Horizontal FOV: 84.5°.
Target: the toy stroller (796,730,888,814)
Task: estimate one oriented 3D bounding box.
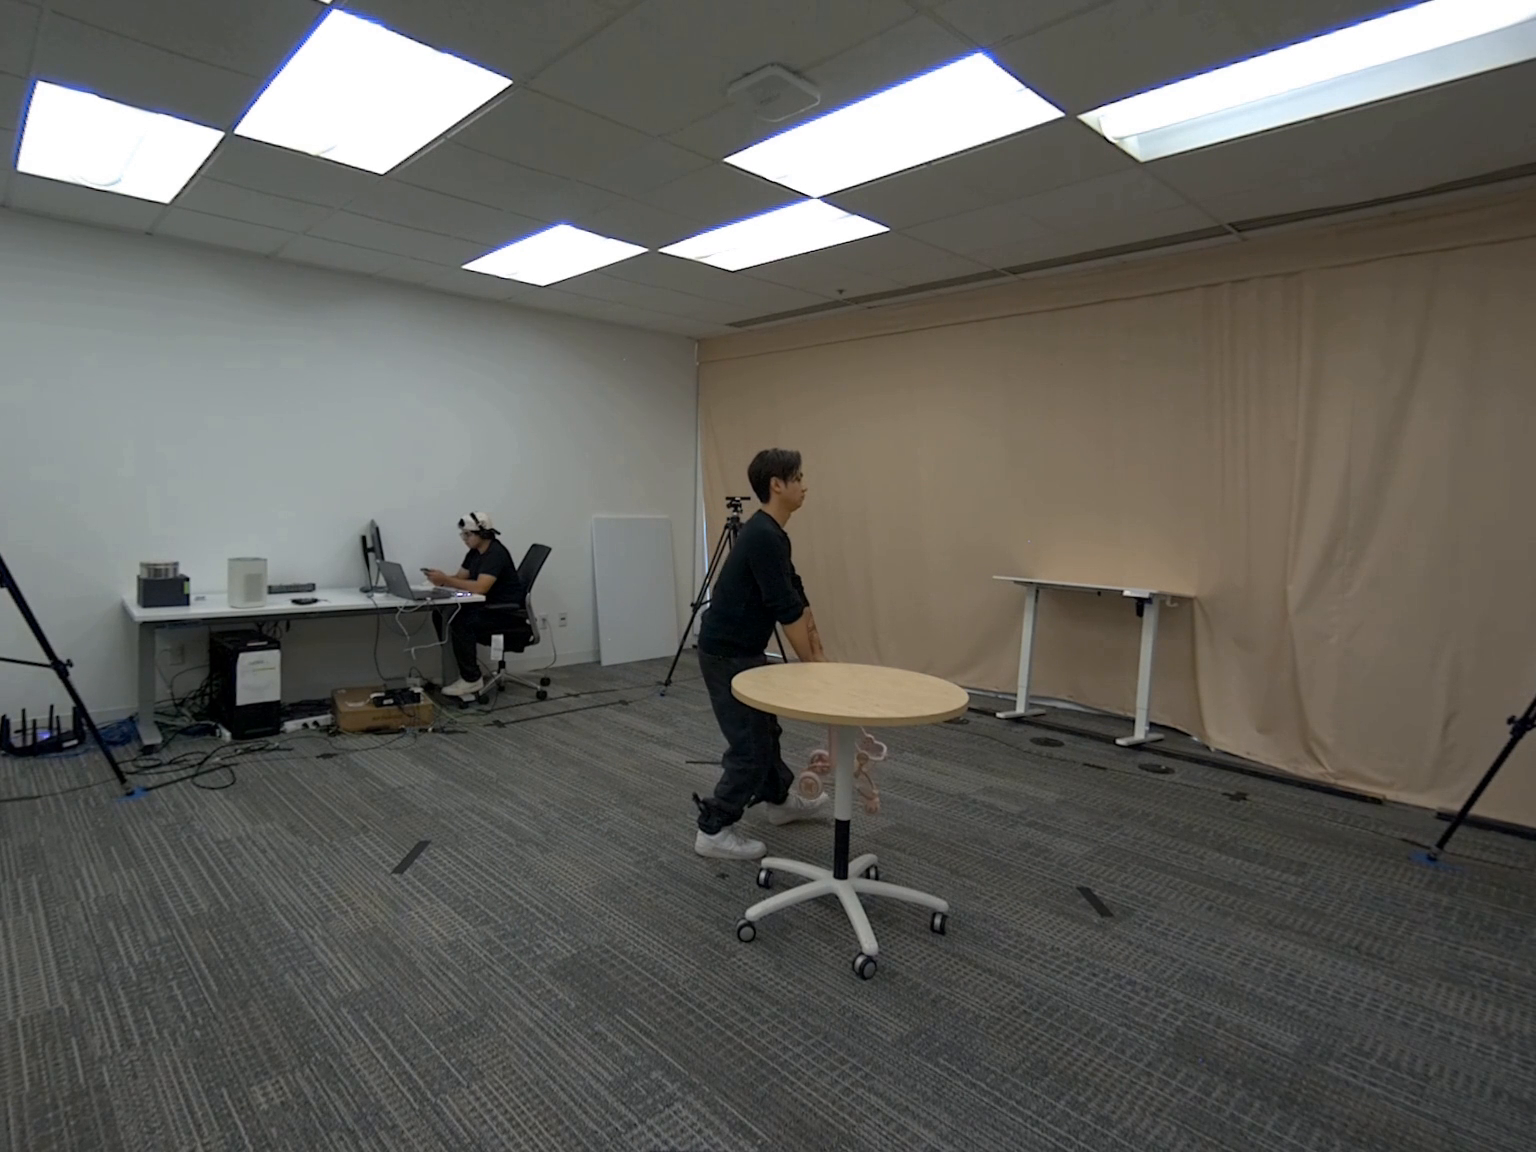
[{"bbox_3d":[0.313,0.663,3.330,0.347,0.532,0.278,11,9,19],"label":"toy stroller"}]
